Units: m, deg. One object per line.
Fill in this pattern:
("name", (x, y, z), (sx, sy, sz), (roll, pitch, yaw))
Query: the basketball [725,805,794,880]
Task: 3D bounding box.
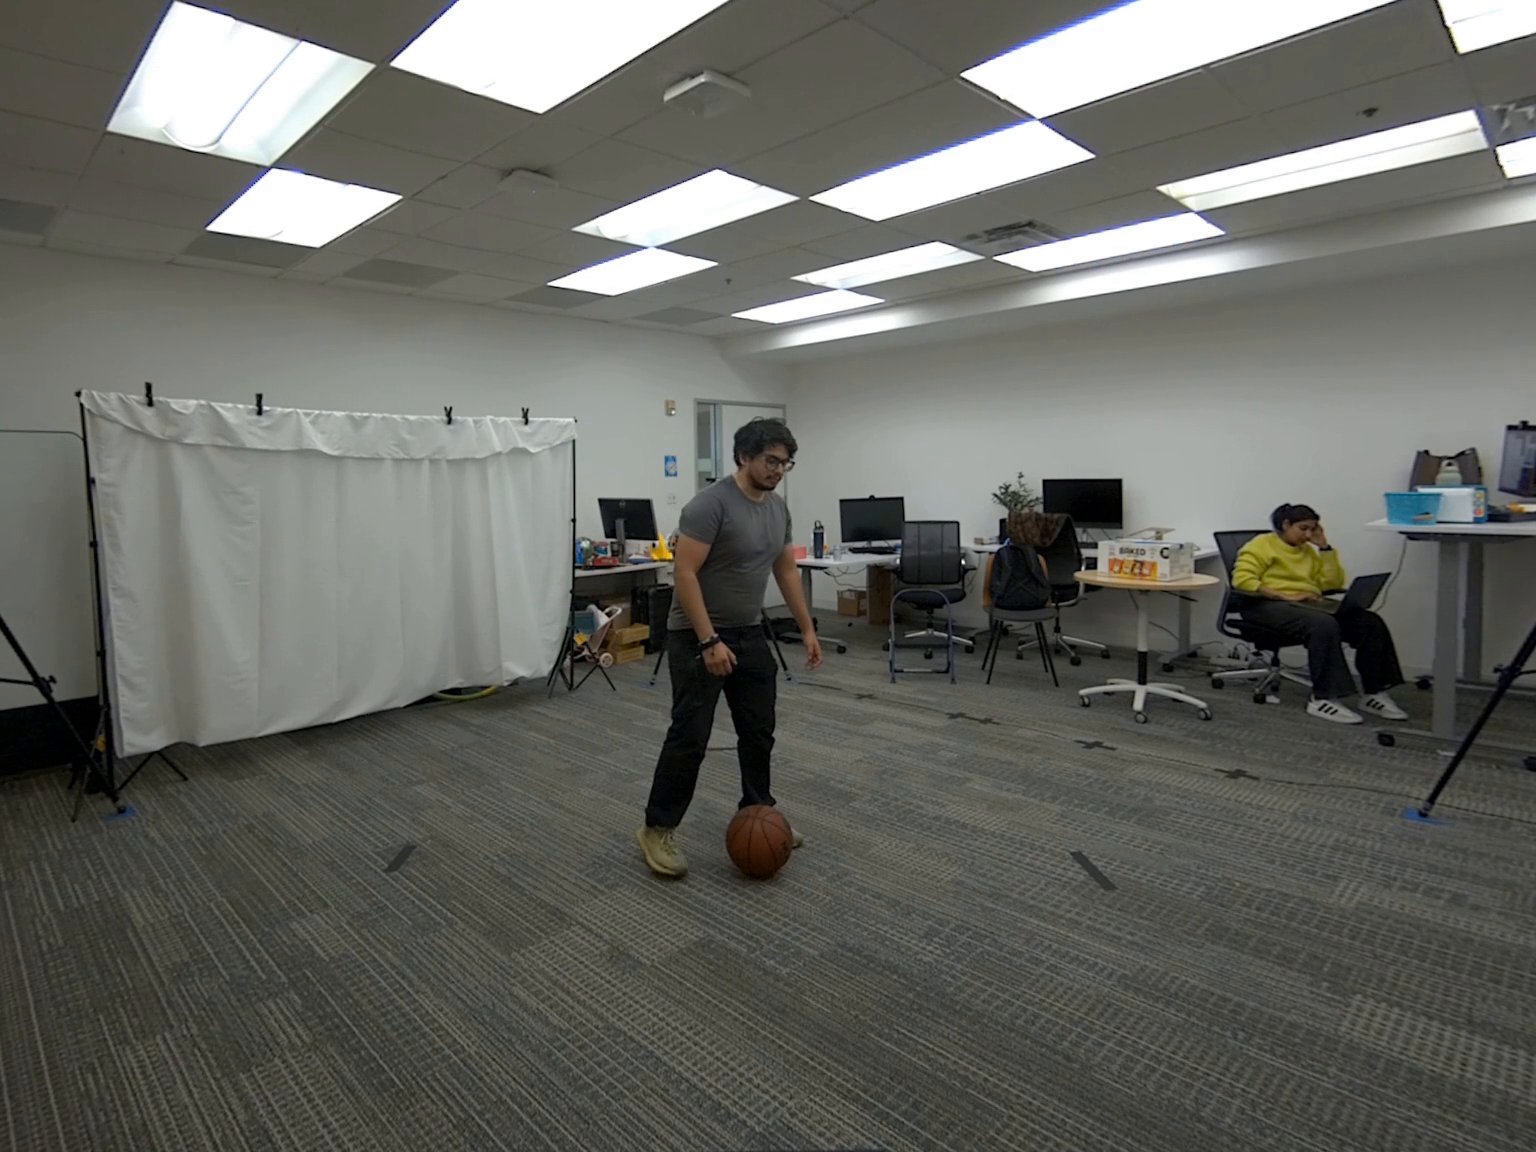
("basketball", (-0.029, 0.931, 3.021), (0.236, 0.235, 0.237), (-1, 5, -2))
